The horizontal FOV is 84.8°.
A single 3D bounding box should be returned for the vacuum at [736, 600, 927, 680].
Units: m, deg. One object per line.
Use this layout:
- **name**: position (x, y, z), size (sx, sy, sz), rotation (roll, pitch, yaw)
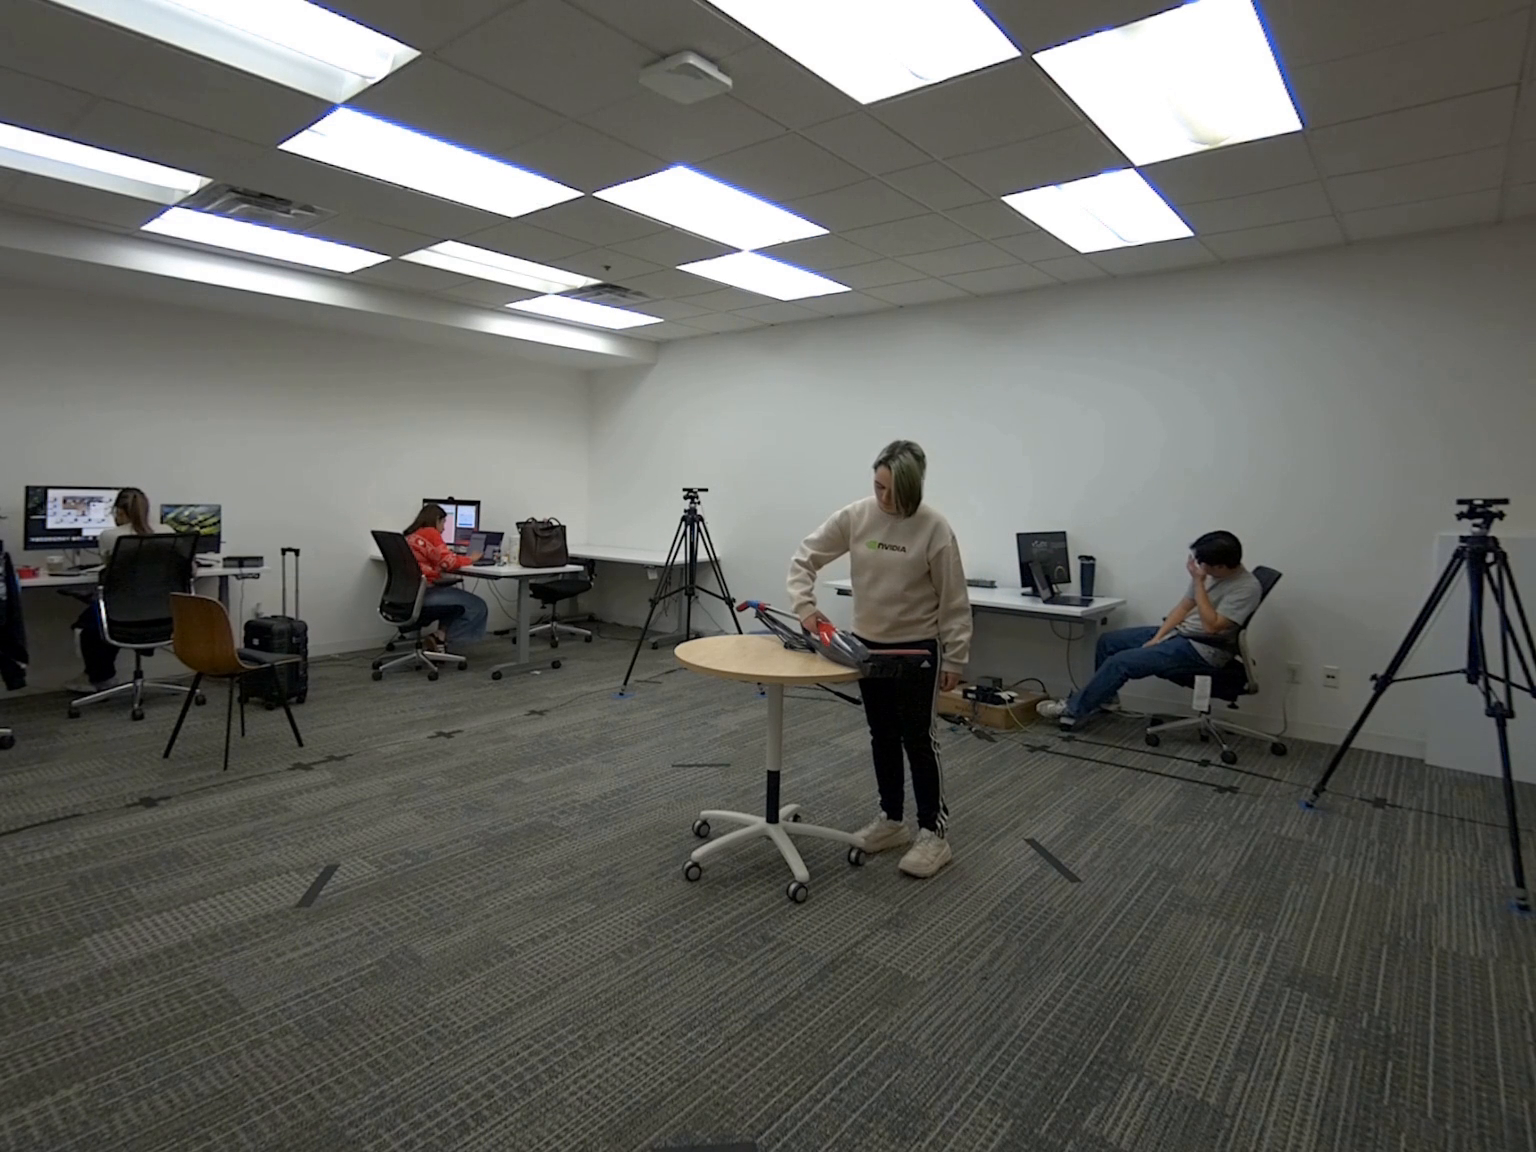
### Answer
- **vacuum**: position (0.132, 0.228, 3.264), size (0.245, 0.143, 1.082), rotation (4, 5, -30)
